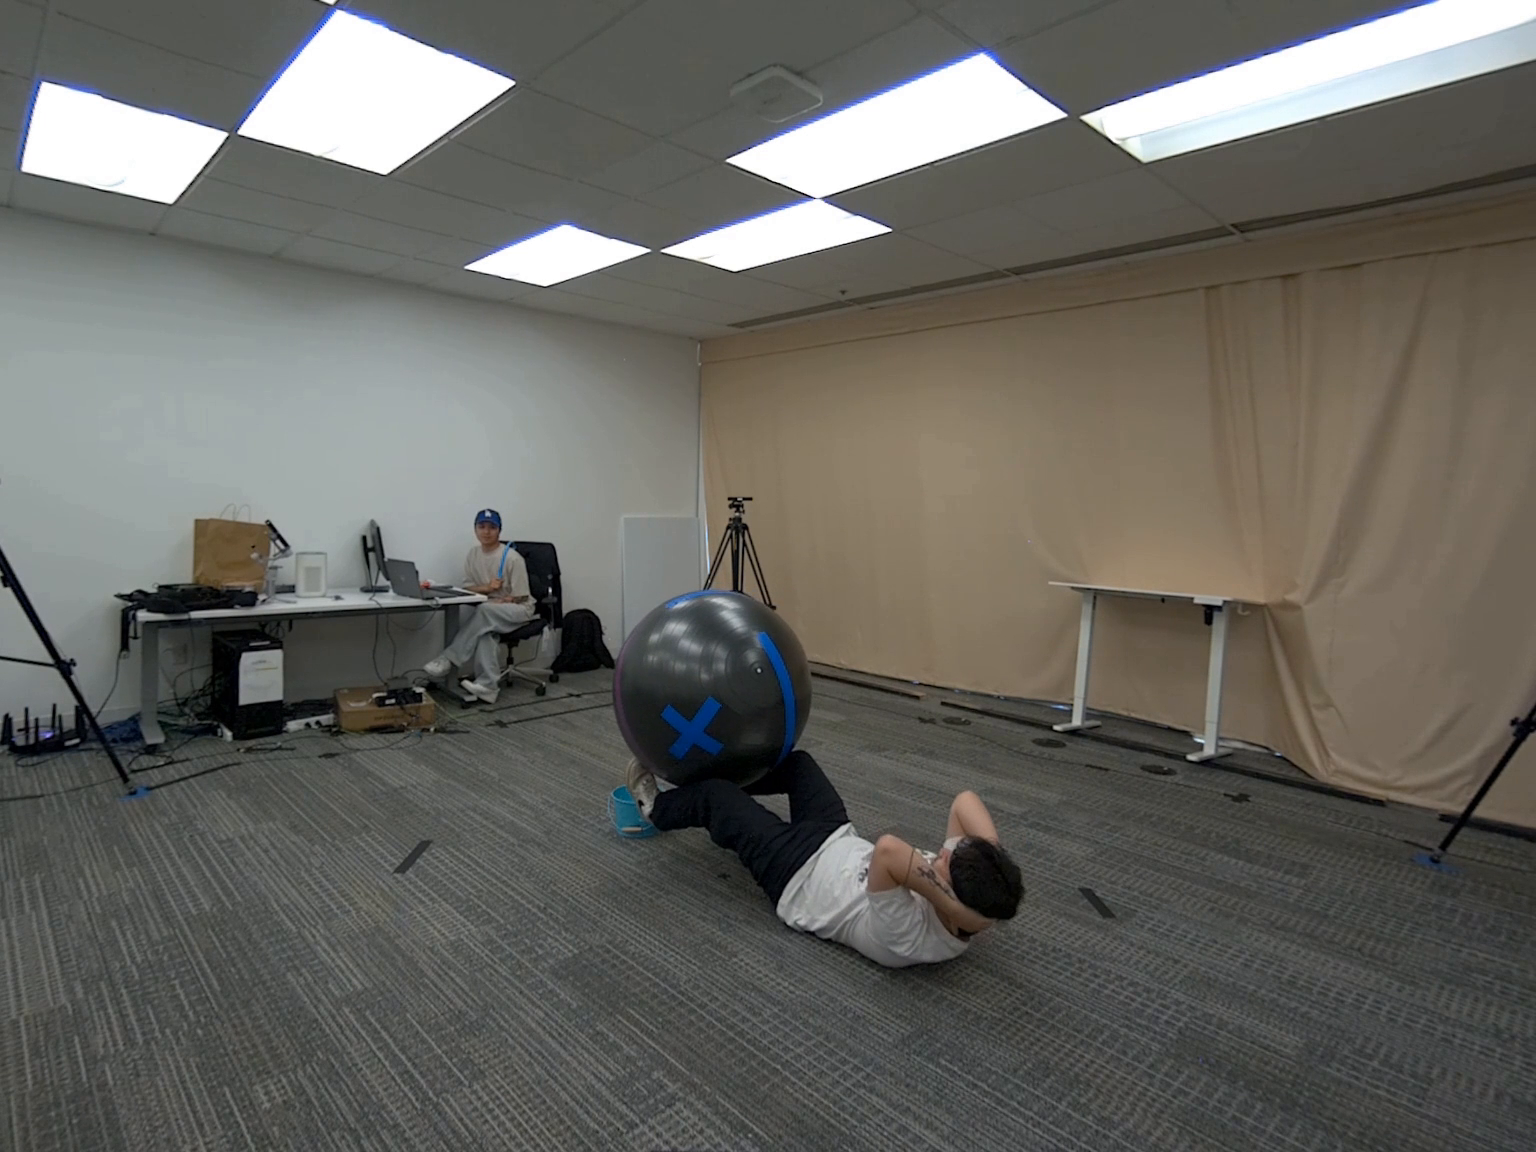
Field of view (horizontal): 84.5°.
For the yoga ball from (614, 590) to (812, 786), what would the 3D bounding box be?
[{"bbox_3d":[-0.217,0.429,3.216,0.757,0.756,0.760,1,4,-1],"label":"yoga ball"}]
